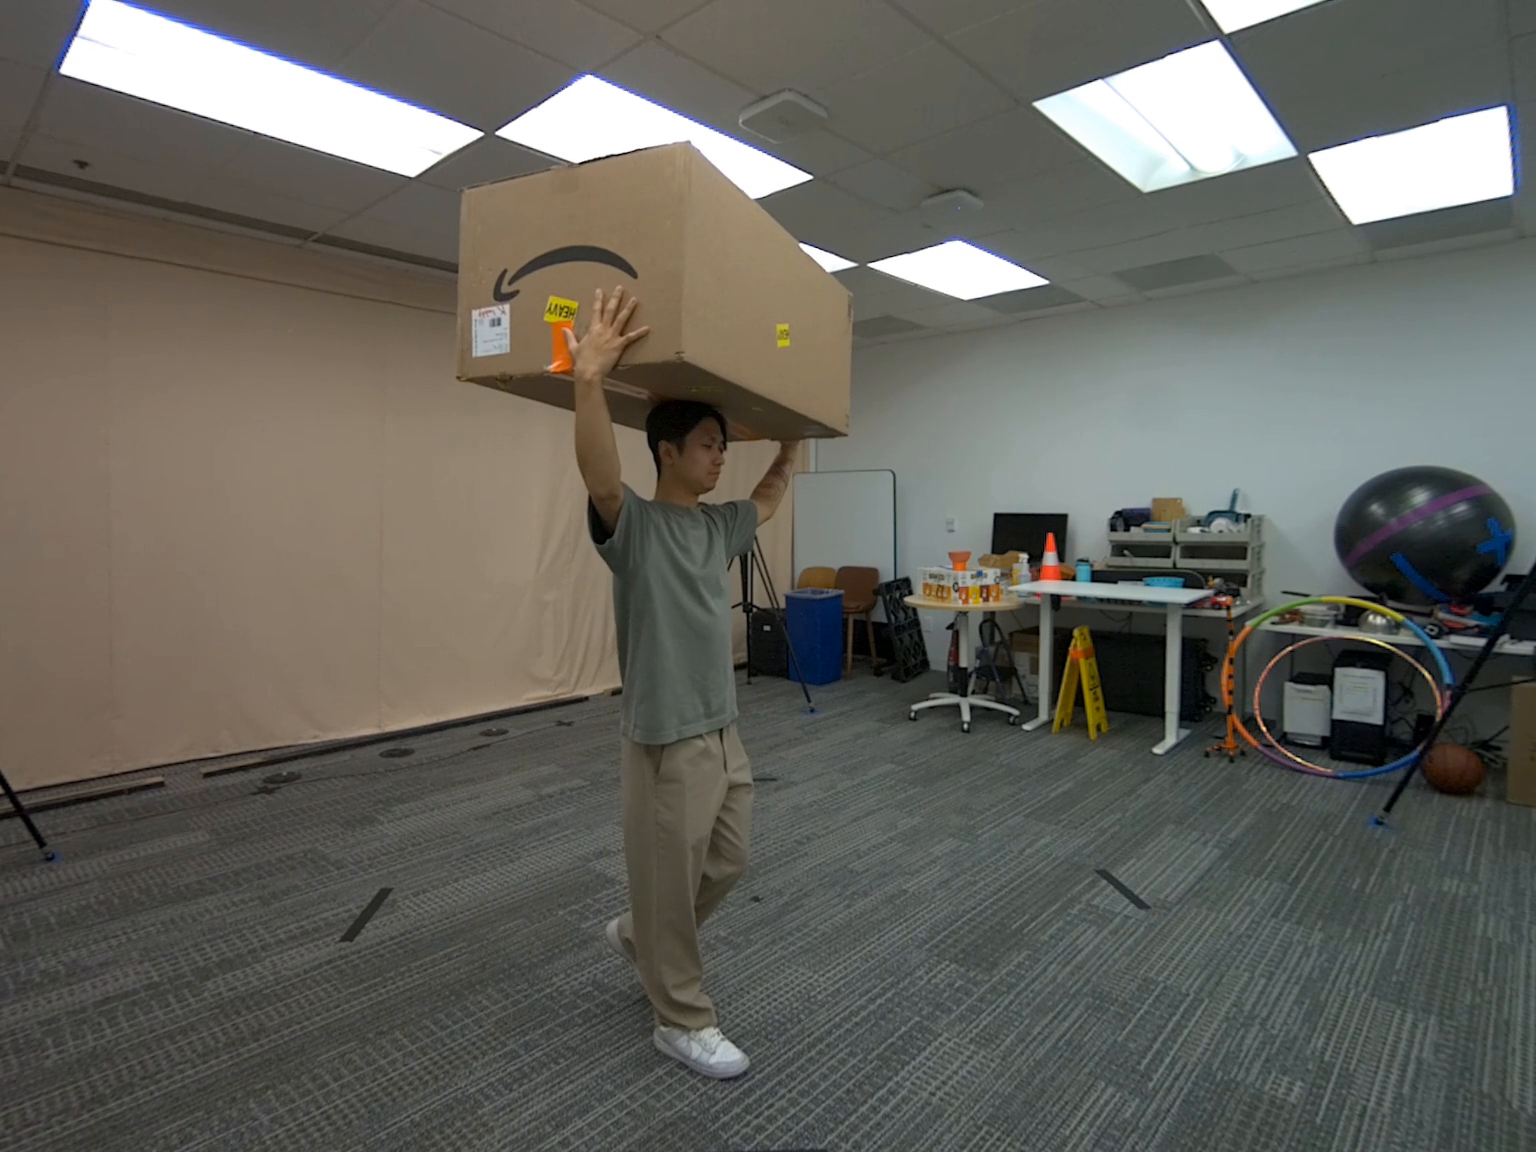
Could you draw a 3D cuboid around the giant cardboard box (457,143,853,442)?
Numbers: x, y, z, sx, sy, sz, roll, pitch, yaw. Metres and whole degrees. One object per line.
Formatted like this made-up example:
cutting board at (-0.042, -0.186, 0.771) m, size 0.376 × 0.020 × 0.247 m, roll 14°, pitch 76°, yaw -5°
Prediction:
giant cardboard box at (-0.214, -0.629, 2.167) m, size 0.592 × 0.426 × 1.000 m, roll 1°, pitch 1°, yaw 25°
